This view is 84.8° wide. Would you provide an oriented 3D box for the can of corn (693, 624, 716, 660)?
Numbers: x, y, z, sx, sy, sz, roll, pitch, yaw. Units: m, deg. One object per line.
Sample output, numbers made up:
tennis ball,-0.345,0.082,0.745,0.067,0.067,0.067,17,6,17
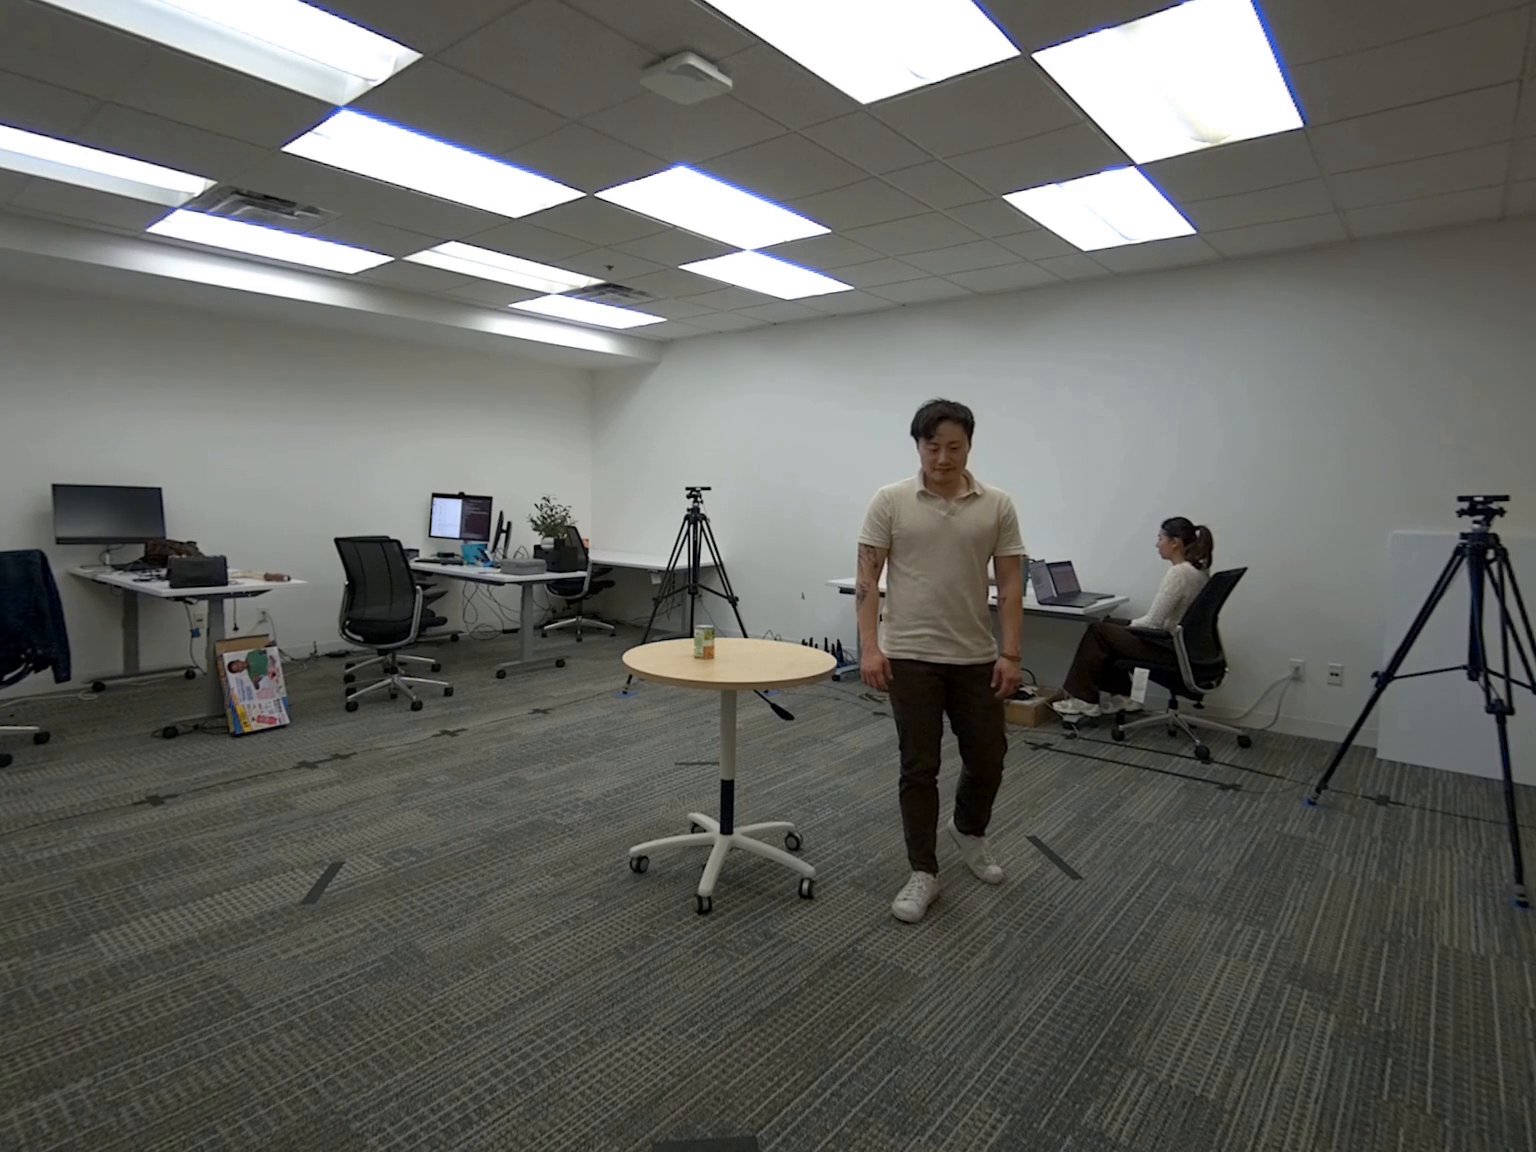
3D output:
can of corn,-0.239,0.232,3.040,0.074,0.110,0.074,-2,5,-2
